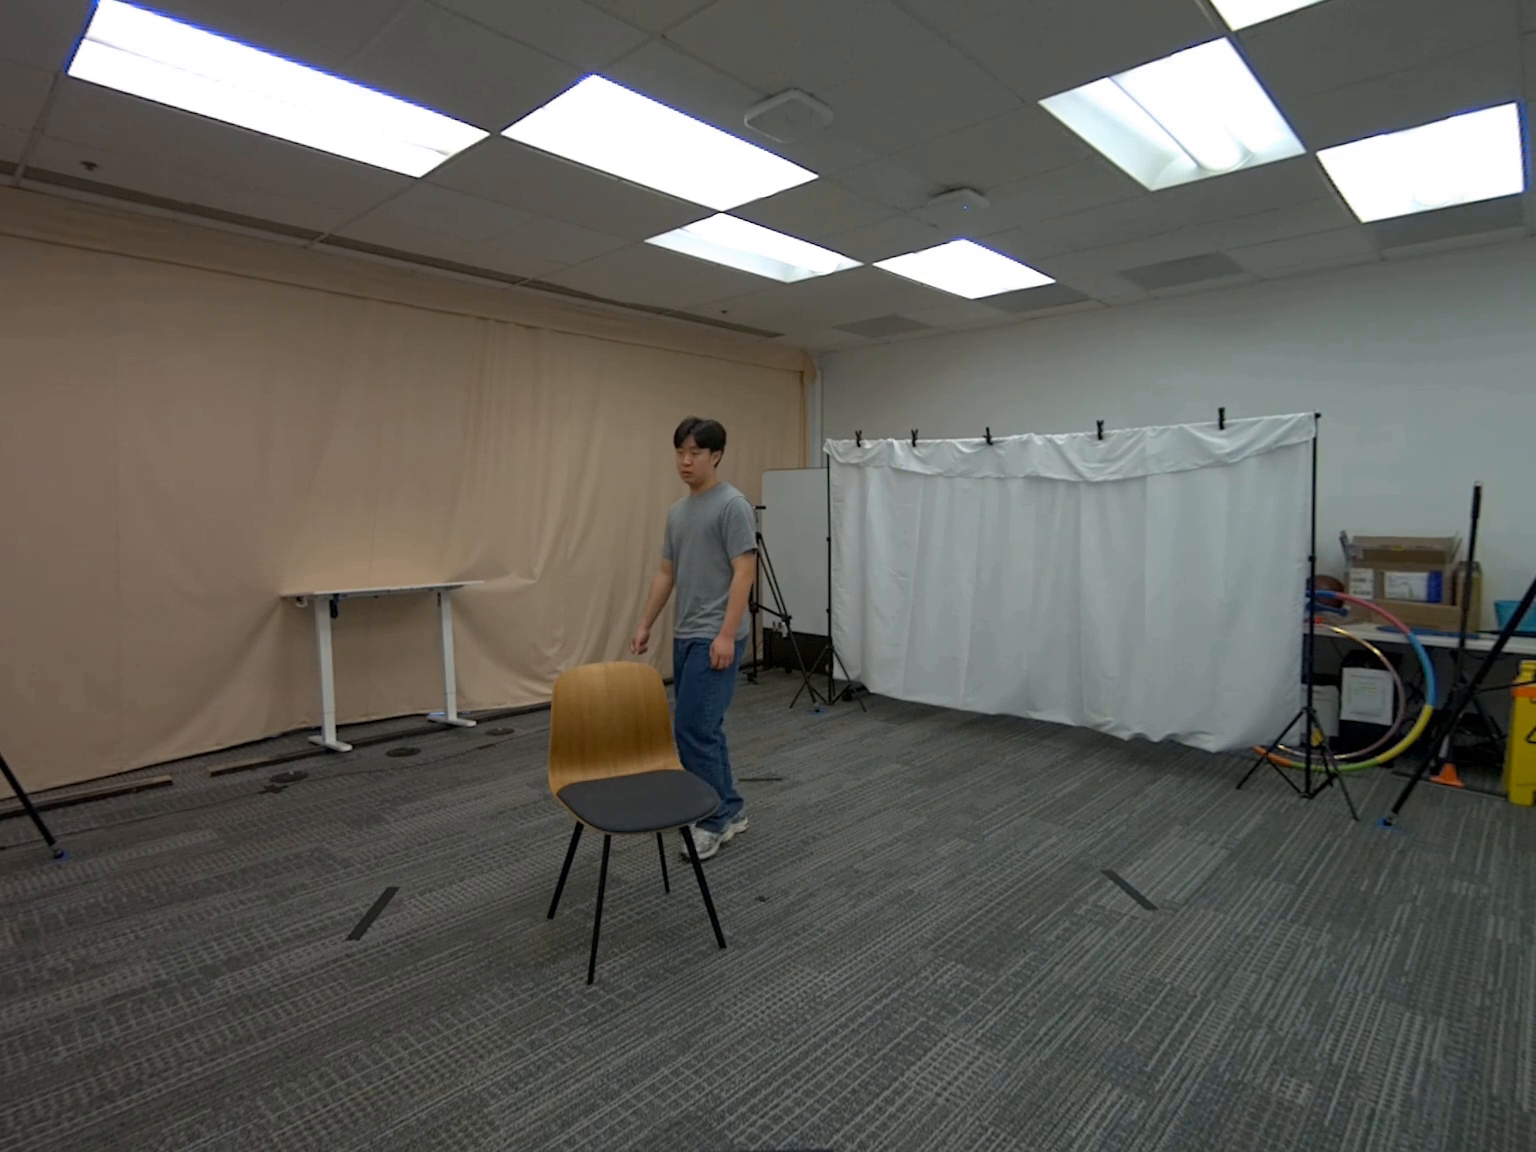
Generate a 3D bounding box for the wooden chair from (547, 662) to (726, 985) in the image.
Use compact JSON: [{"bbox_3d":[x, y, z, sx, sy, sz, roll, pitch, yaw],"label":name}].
[{"bbox_3d":[-0.435,0.740,2.719,0.466,0.878,0.536,-2,-1,-29],"label":"wooden chair"}]
